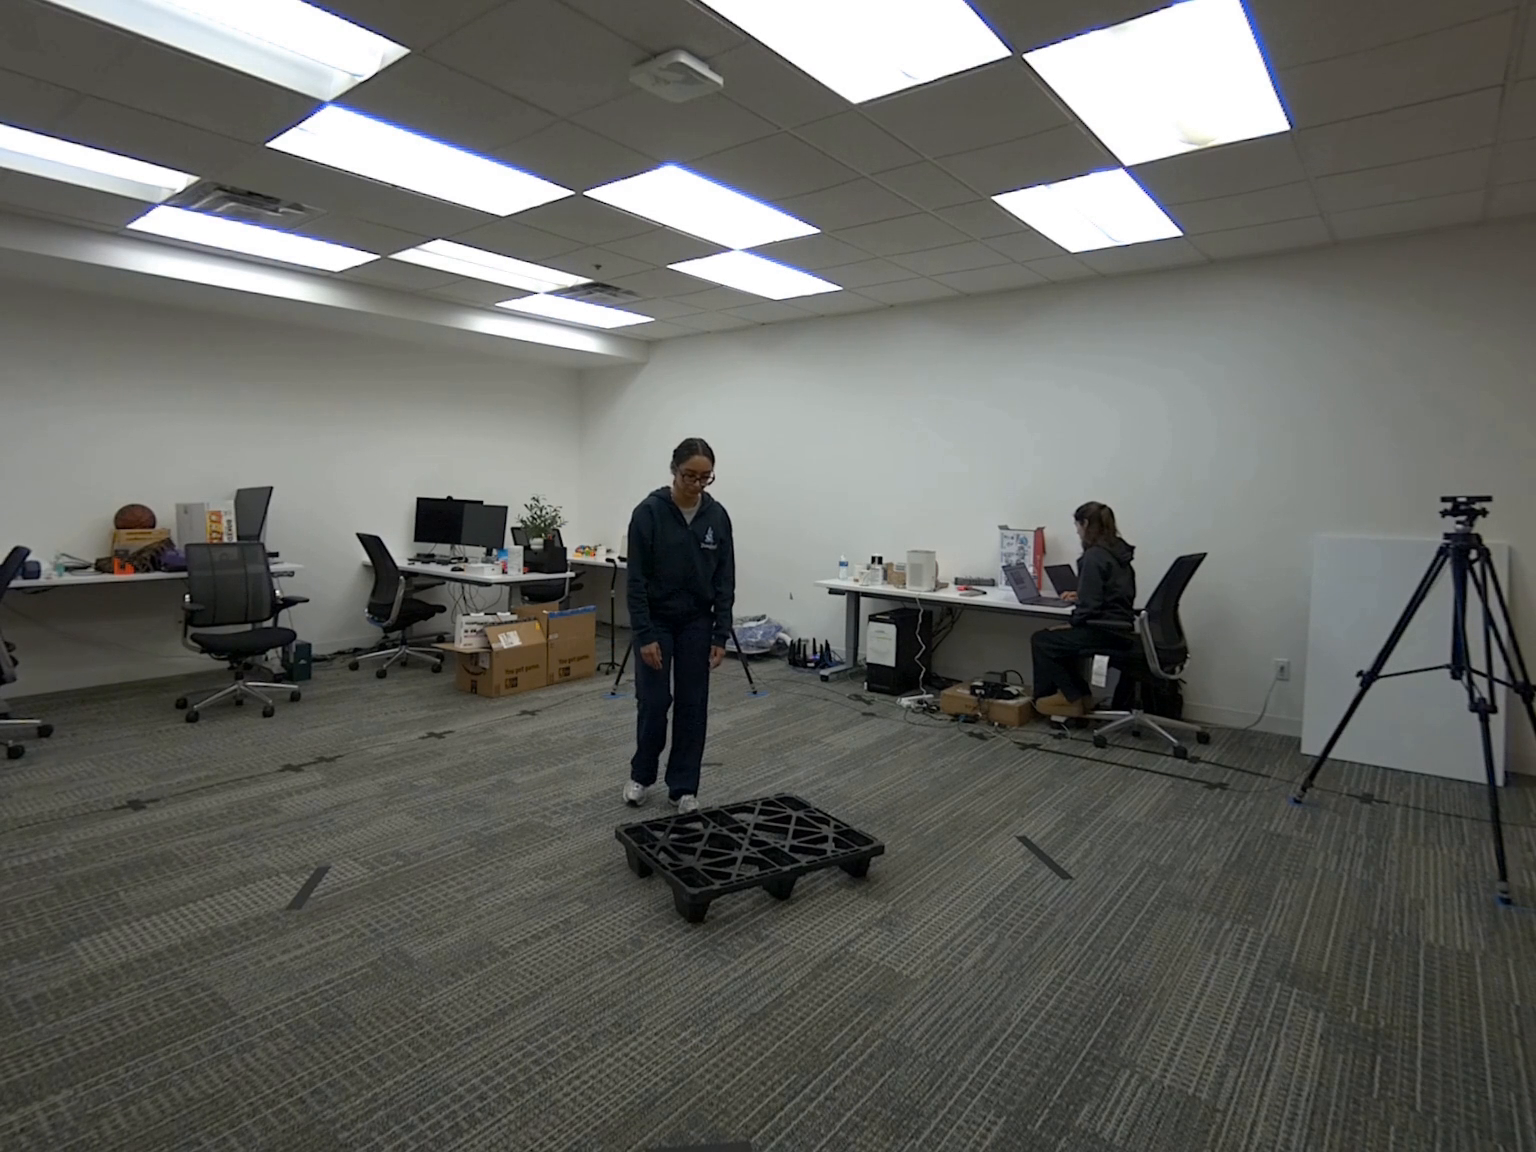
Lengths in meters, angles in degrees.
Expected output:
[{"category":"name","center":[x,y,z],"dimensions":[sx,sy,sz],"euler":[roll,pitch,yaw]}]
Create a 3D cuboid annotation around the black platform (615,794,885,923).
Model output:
[{"category":"black platform","center":[-0.080,1.004,3.086],"dimensions":[0.783,0.143,0.625],"euler":[-3,7,-32]}]
